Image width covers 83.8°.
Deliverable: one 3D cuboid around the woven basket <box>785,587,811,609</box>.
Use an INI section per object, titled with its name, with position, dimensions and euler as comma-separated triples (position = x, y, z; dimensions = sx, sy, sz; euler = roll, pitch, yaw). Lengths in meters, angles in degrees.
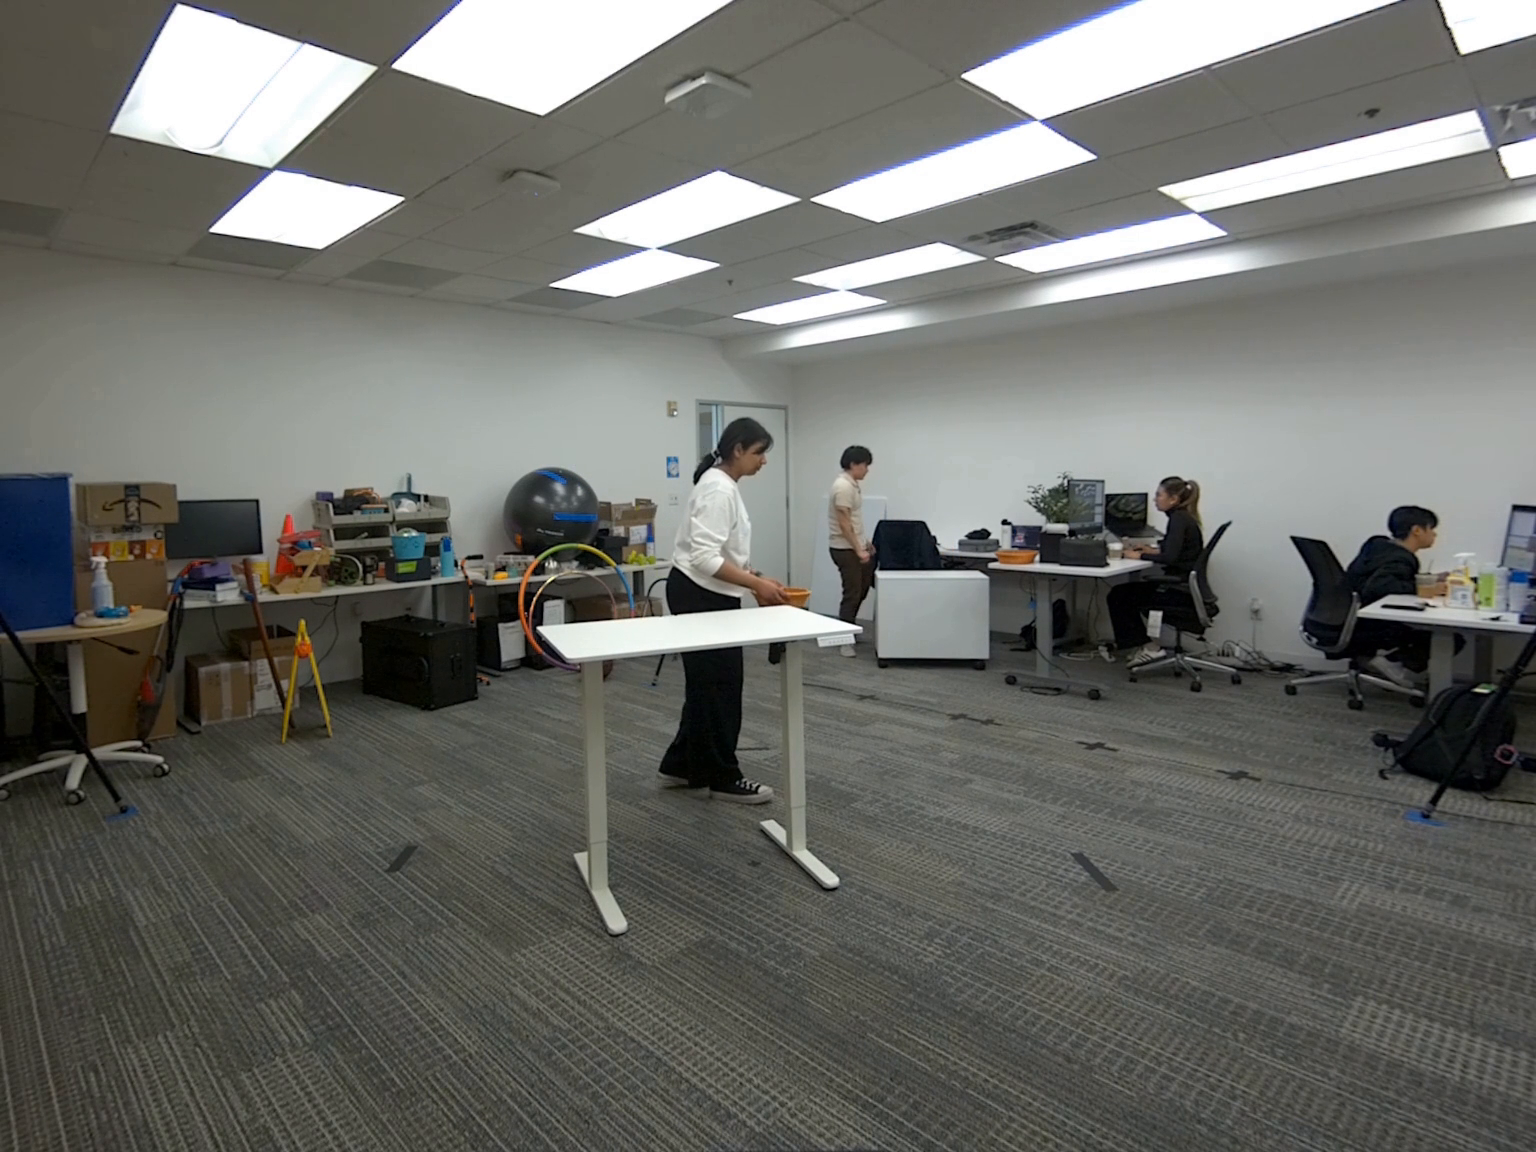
[woven basket]
position = 0.029, 0.103, 3.771
dimensions = 0.251, 0.073, 0.353
euler = -1, 4, -6
